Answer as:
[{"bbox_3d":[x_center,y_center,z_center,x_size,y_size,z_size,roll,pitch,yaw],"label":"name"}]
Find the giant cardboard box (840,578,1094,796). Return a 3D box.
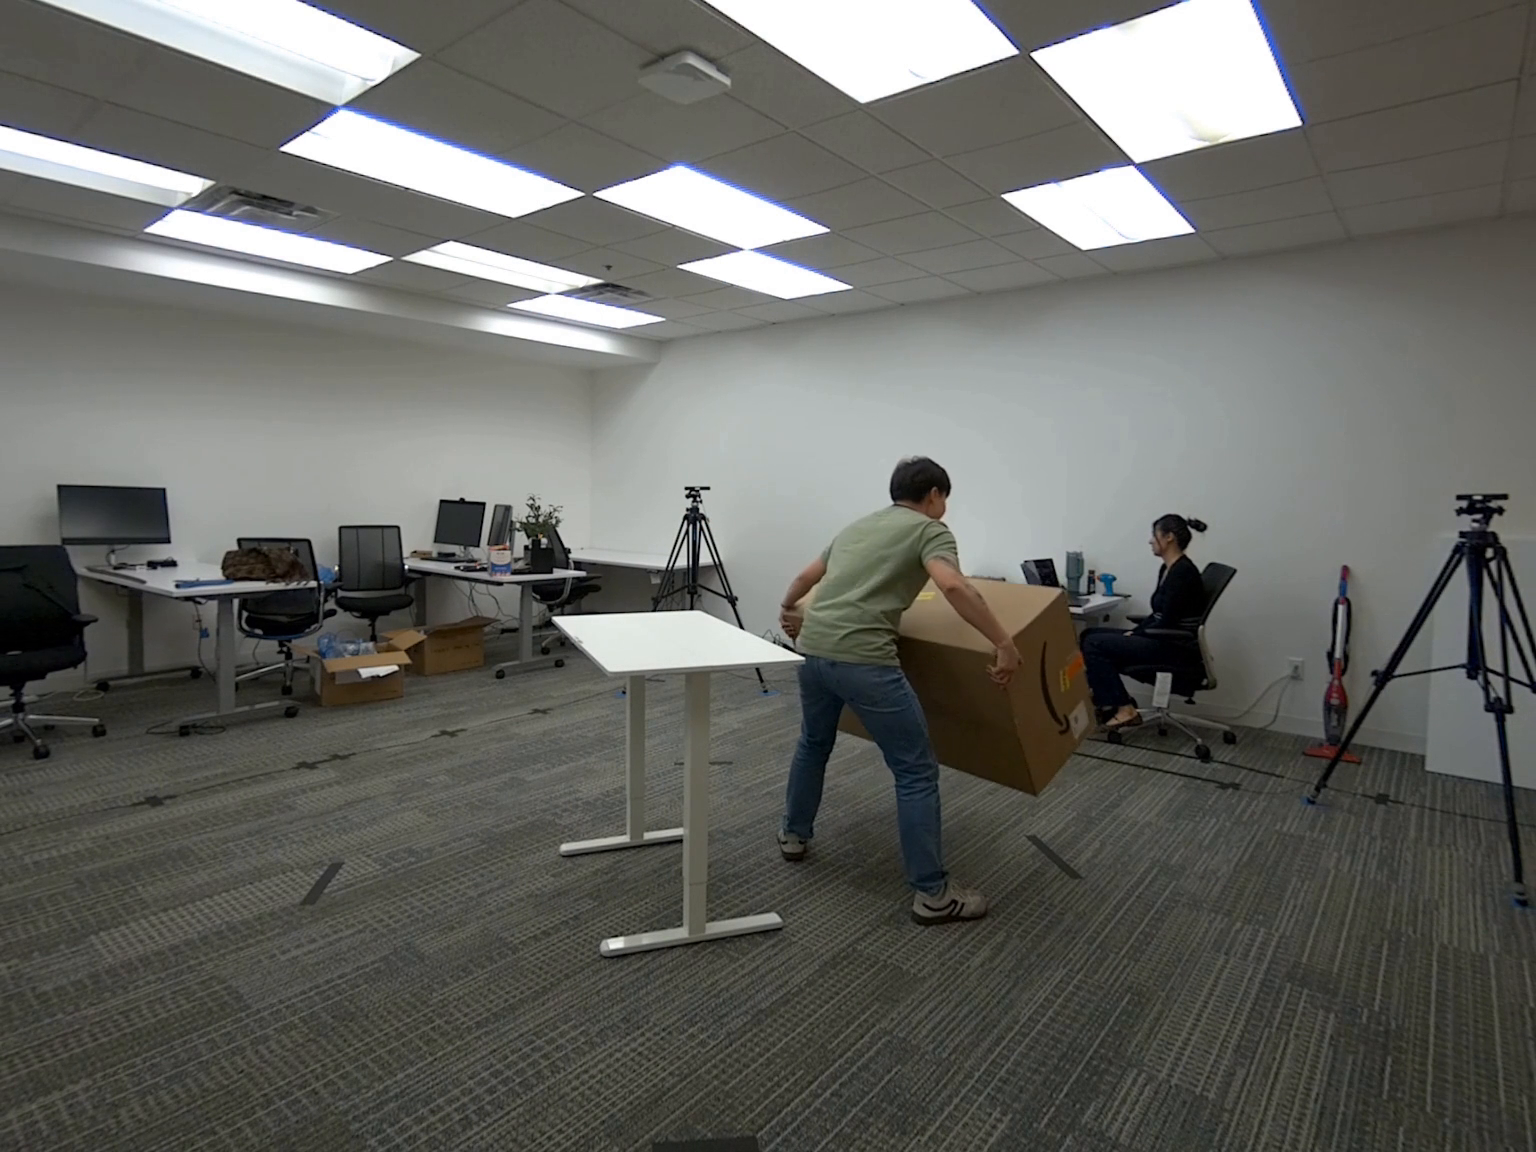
[{"bbox_3d":[0.627,0.344,3.279,0.422,0.564,1.061,-34,24,-31],"label":"giant cardboard box"}]
